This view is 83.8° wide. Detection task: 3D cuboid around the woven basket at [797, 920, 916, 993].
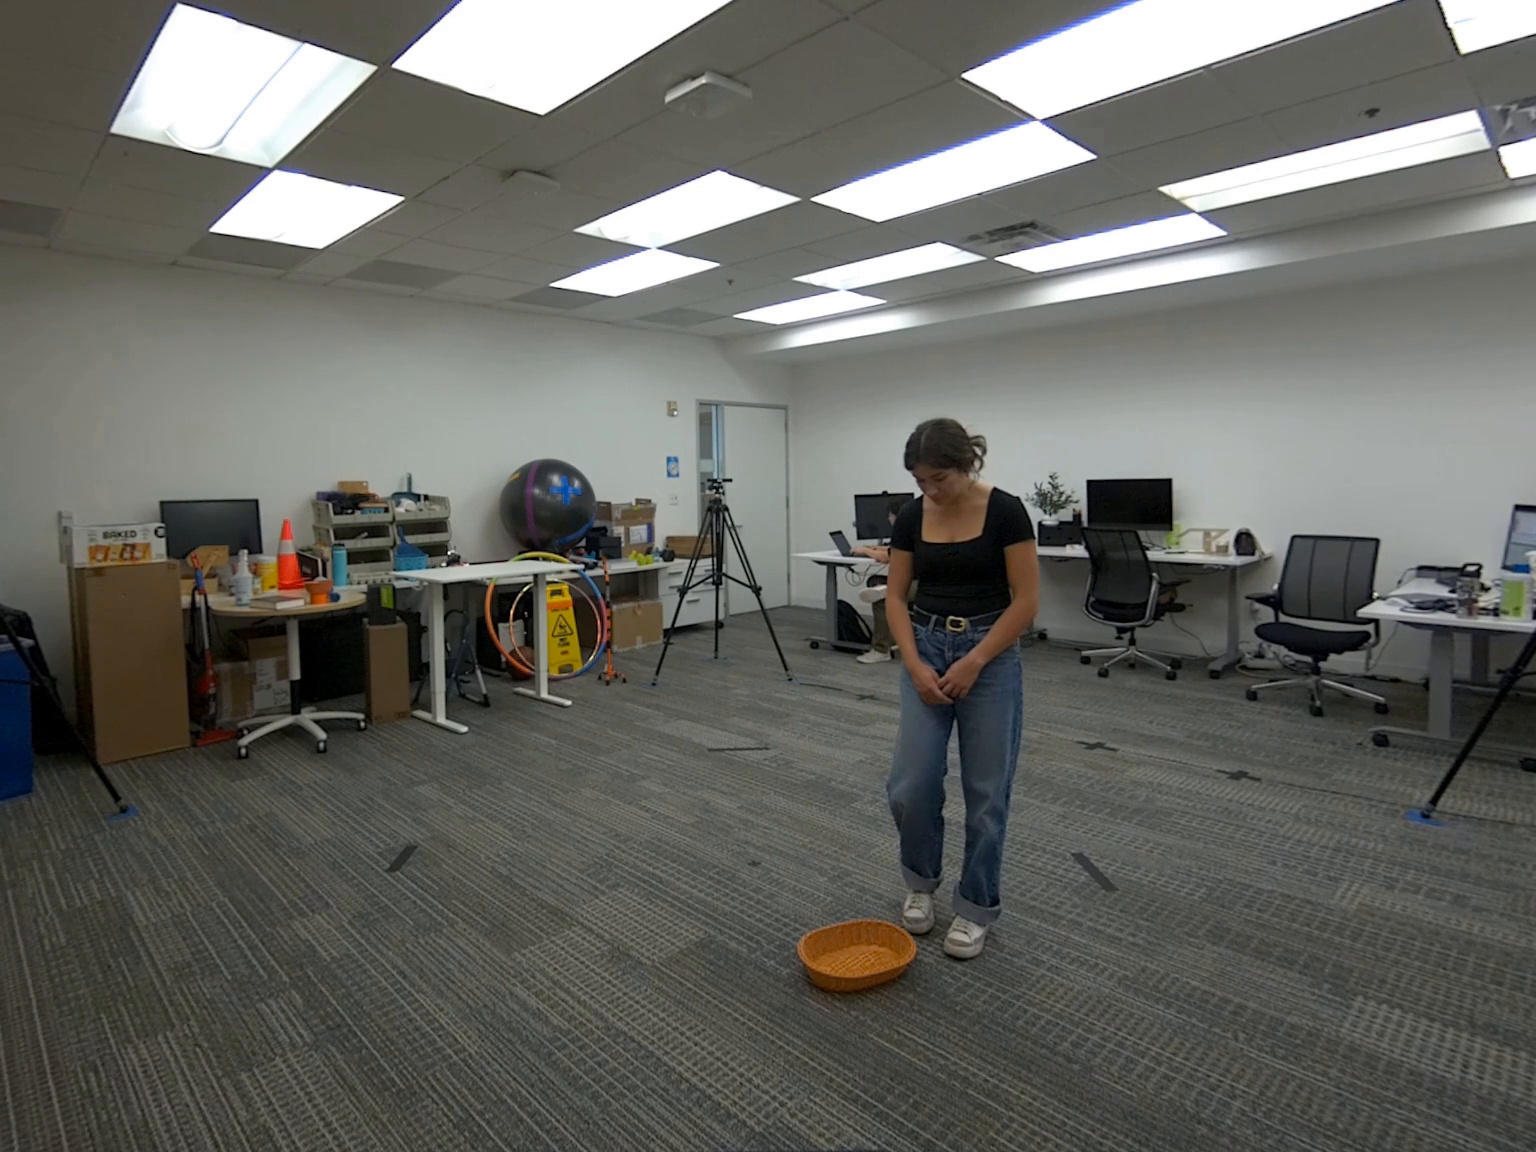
[{"bbox_3d":[0.260,1.077,2.422,0.343,0.073,0.259,-3,8,-23],"label":"woven basket"}]
